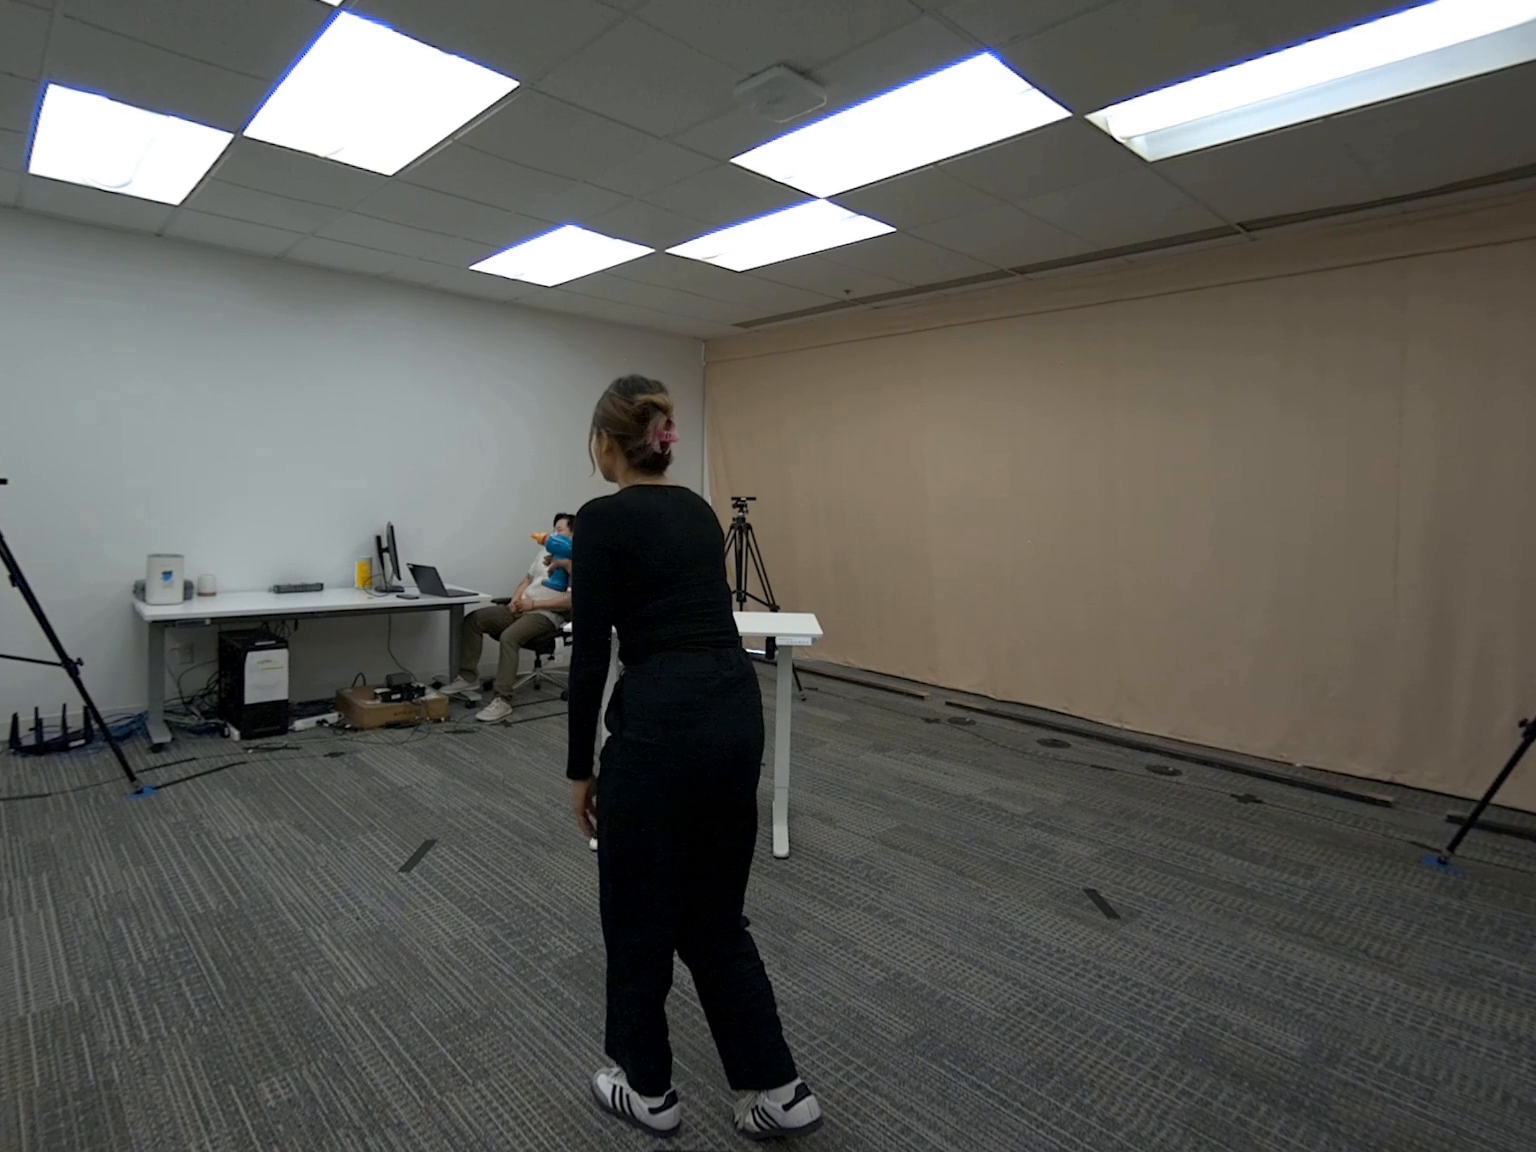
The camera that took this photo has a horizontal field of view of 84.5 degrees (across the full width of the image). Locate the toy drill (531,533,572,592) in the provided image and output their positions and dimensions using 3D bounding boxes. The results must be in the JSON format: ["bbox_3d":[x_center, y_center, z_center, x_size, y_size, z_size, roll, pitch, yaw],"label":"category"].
[{"bbox_3d":[-0.578,-0.042,2.234,0.173,0.146,0.060,18,3,20],"label":"toy drill"}]
